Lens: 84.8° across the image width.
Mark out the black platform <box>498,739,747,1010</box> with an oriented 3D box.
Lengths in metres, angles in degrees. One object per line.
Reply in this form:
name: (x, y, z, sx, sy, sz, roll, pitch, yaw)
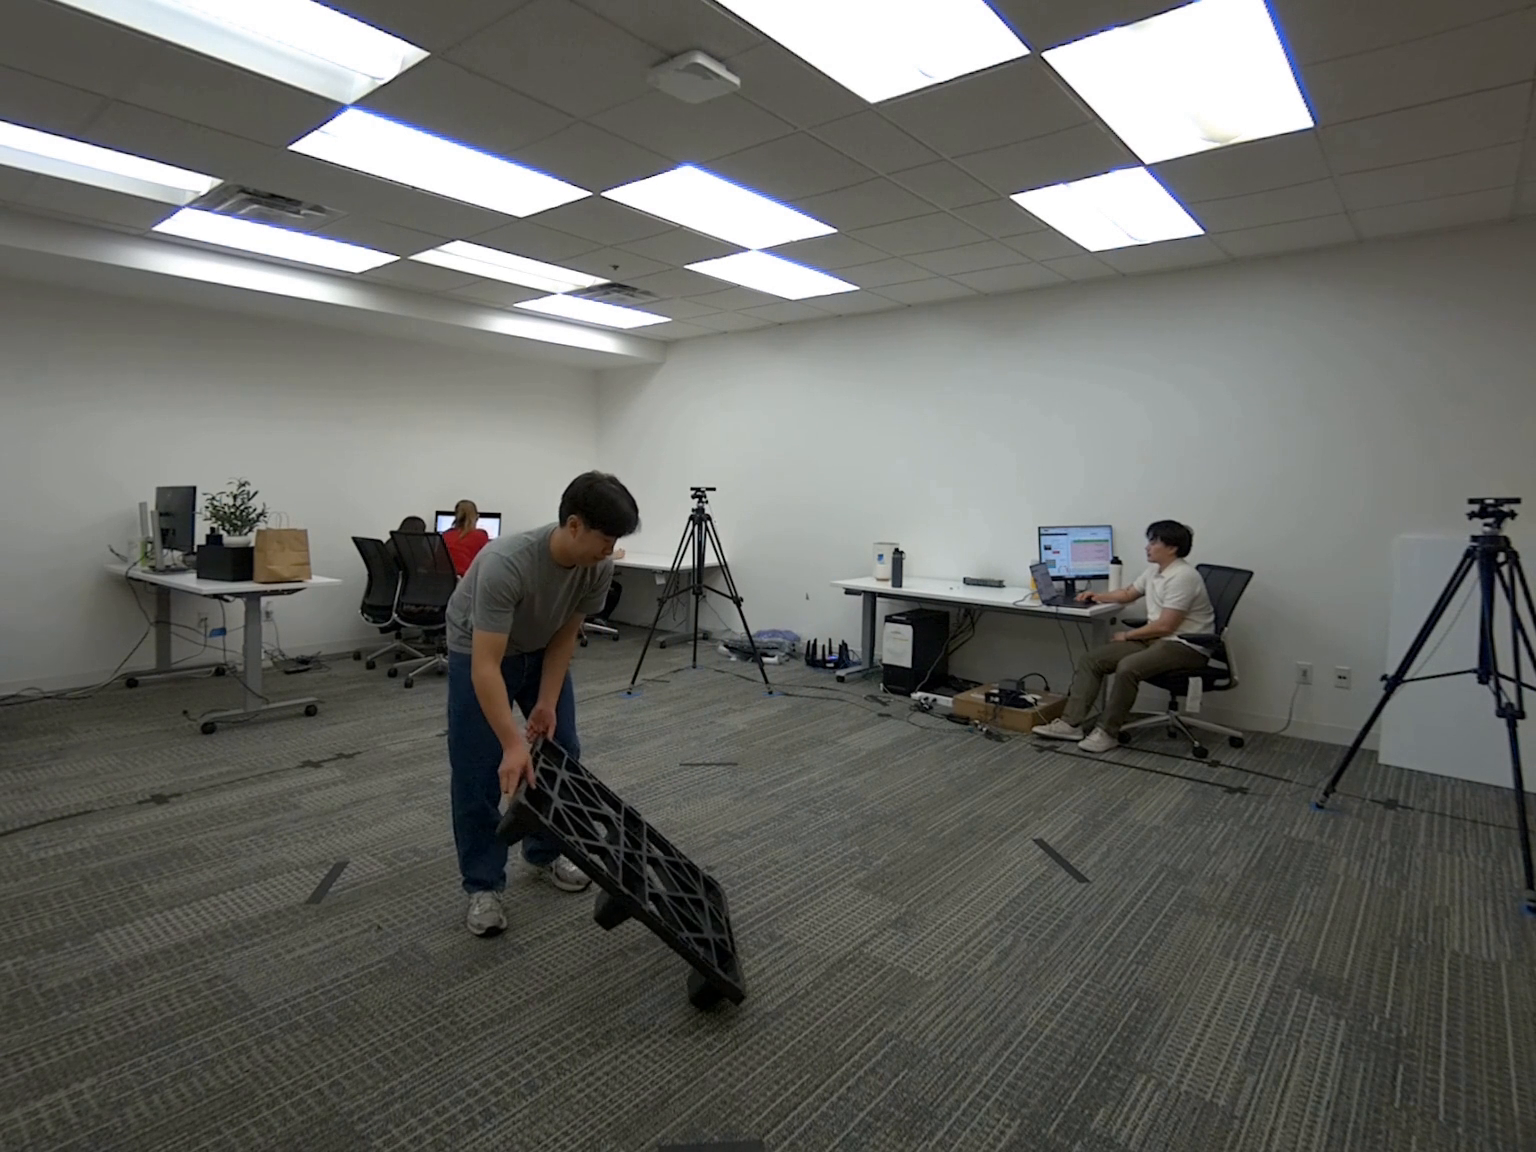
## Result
black platform: (-0.434, 0.825, 2.449, 0.798, 0.143, 0.611, 44, -3, -7)
